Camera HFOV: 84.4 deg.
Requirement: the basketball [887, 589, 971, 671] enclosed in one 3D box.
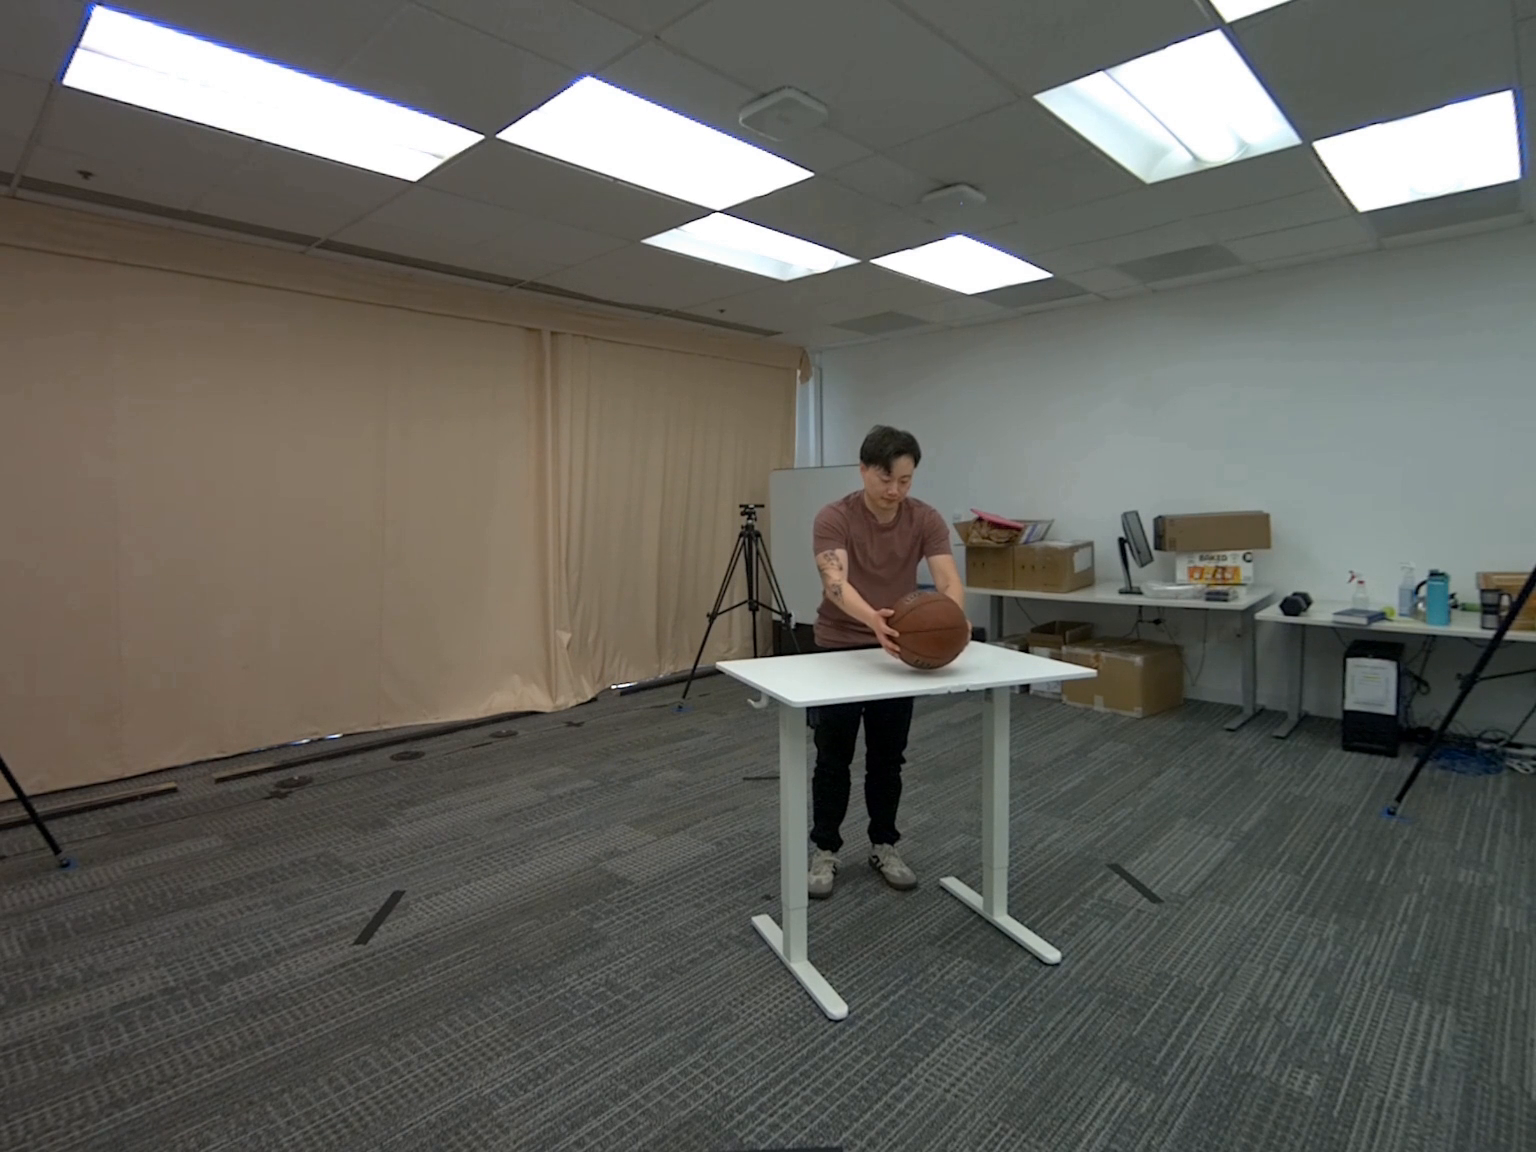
[{"bbox_3d":[0.468,0.159,2.510,0.236,0.235,0.237,-1,4,-2],"label":"basketball"}]
